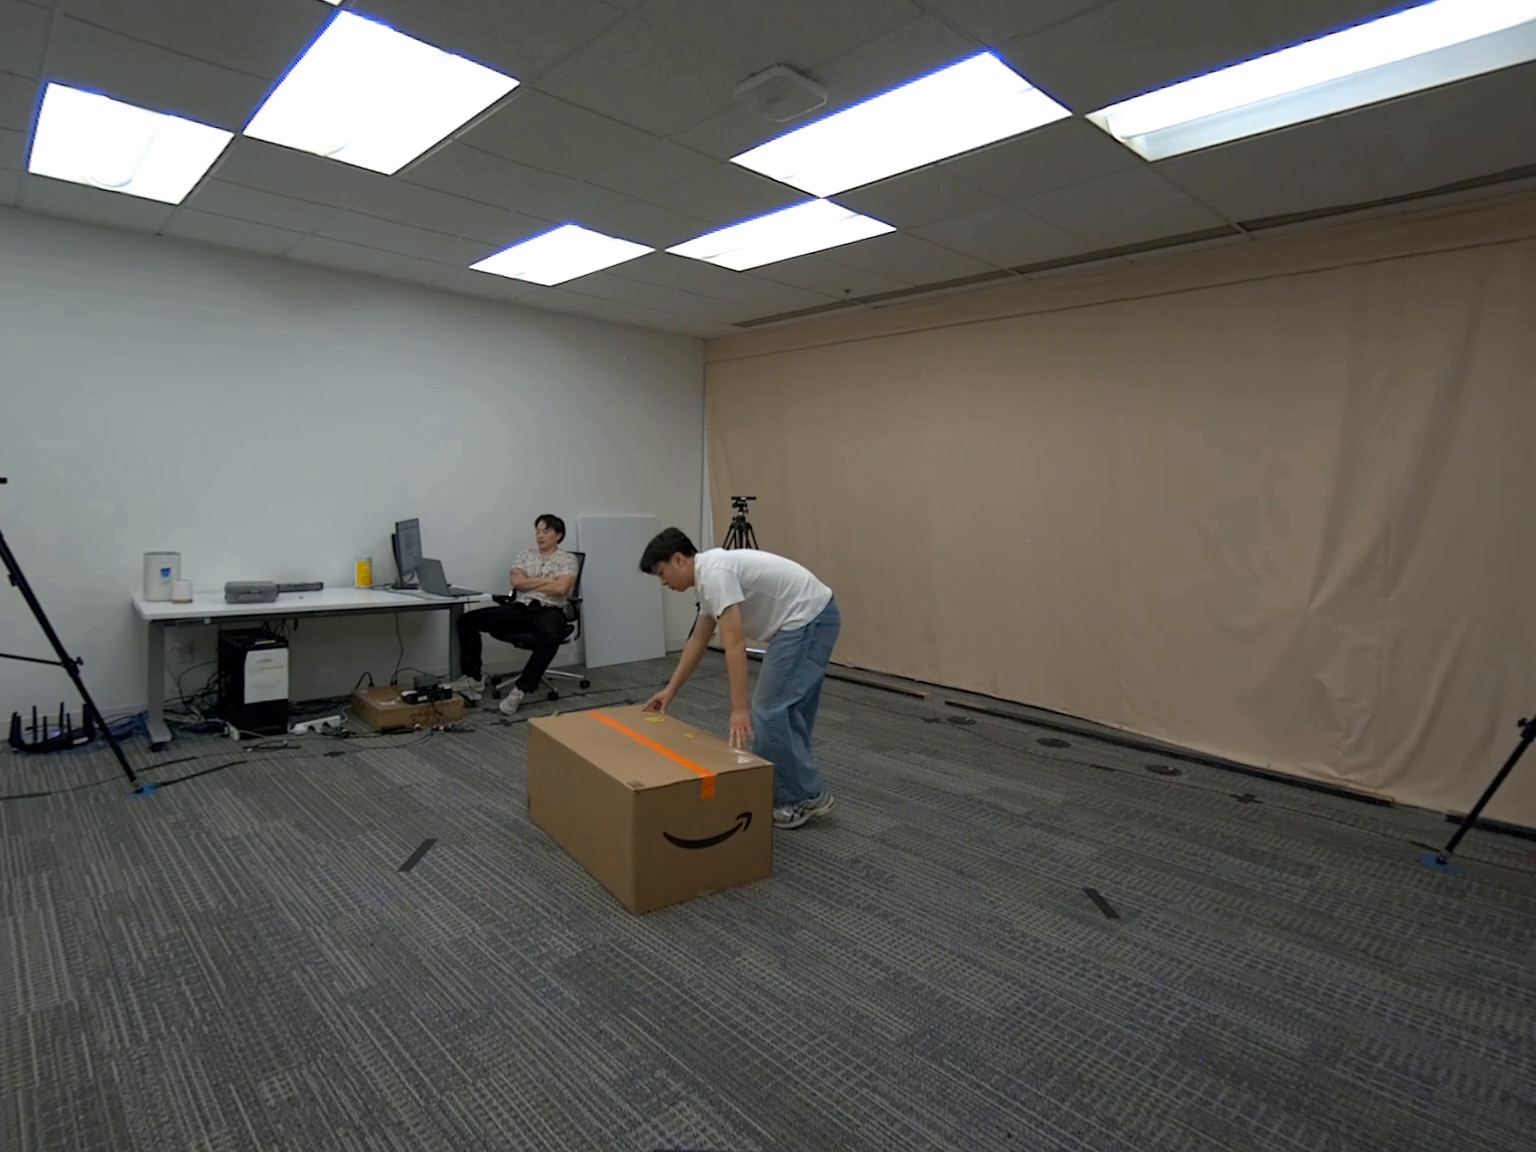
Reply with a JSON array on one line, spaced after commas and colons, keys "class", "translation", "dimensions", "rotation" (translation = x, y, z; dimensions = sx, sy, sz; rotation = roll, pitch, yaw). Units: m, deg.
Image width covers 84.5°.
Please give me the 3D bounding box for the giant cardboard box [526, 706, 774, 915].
[{"class": "giant cardboard box", "translation": [-0.515, 0.862, 3.346], "dimensions": [0.565, 0.425, 1.051], "rotation": [-1, 5, -35]}]
